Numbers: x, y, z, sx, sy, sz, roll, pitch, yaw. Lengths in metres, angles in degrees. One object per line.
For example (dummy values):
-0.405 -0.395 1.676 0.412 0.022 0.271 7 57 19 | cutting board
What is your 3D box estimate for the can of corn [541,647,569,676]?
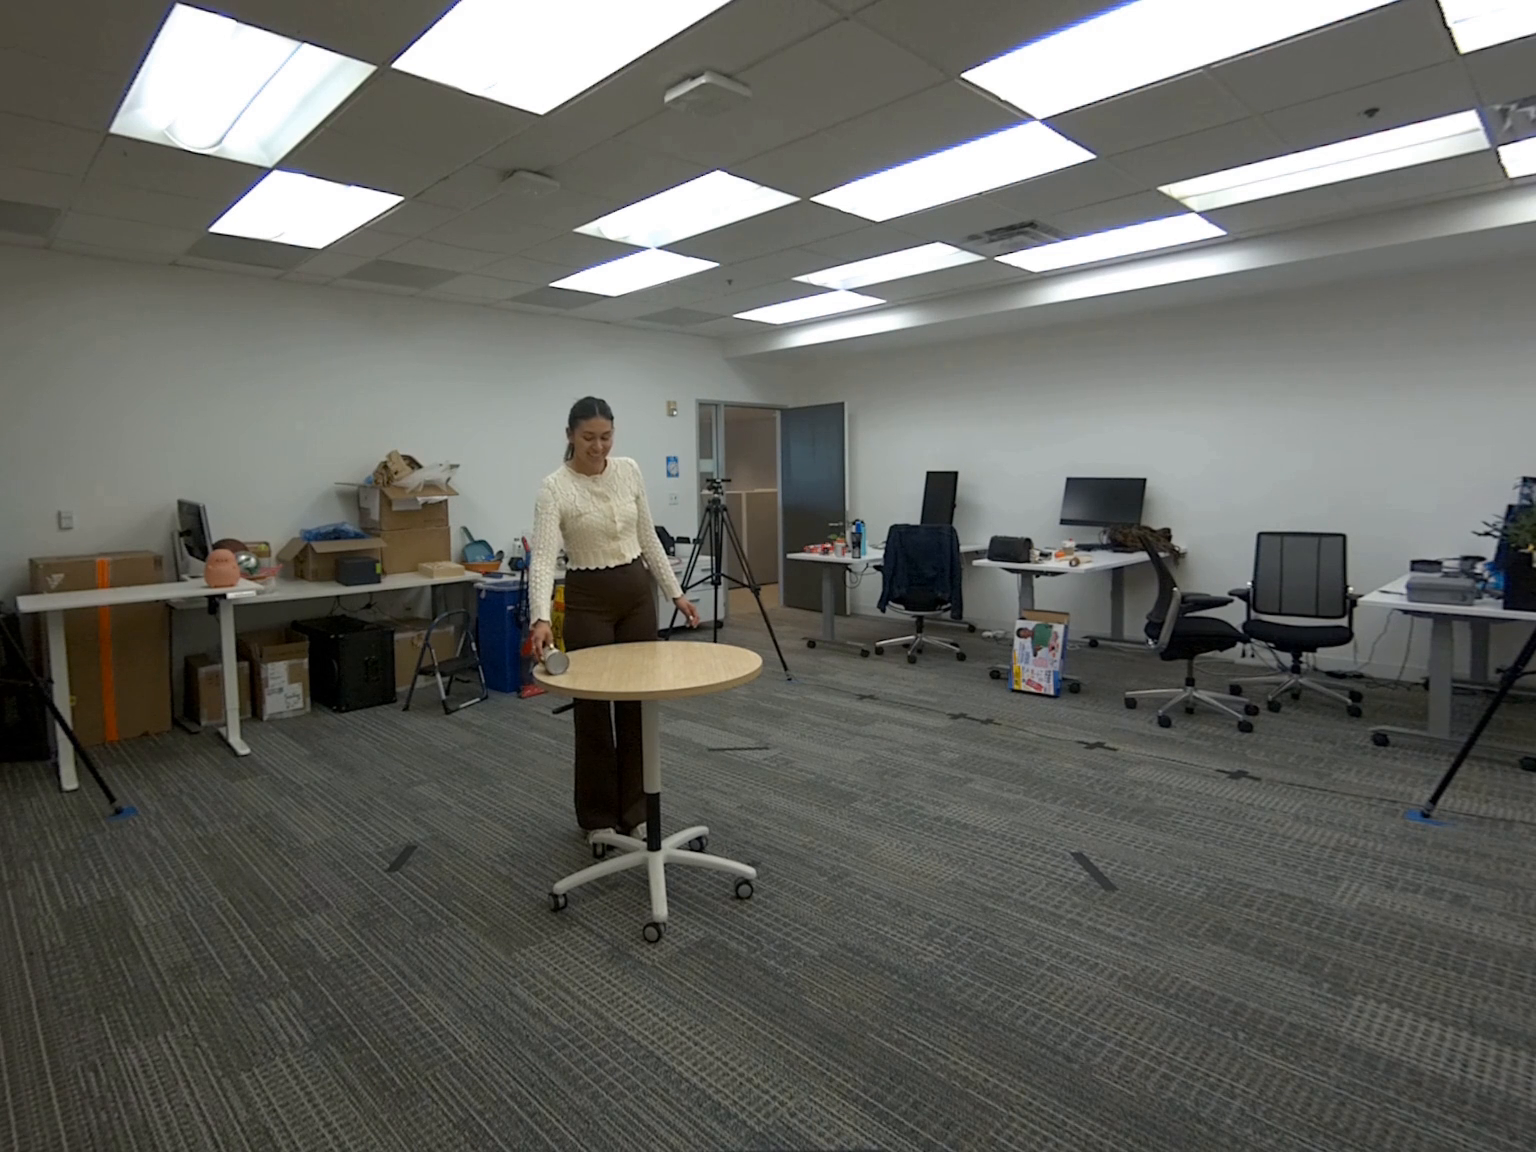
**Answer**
-0.698 0.275 2.792 0.073 0.074 0.113 -2 4 -17 | can of corn
